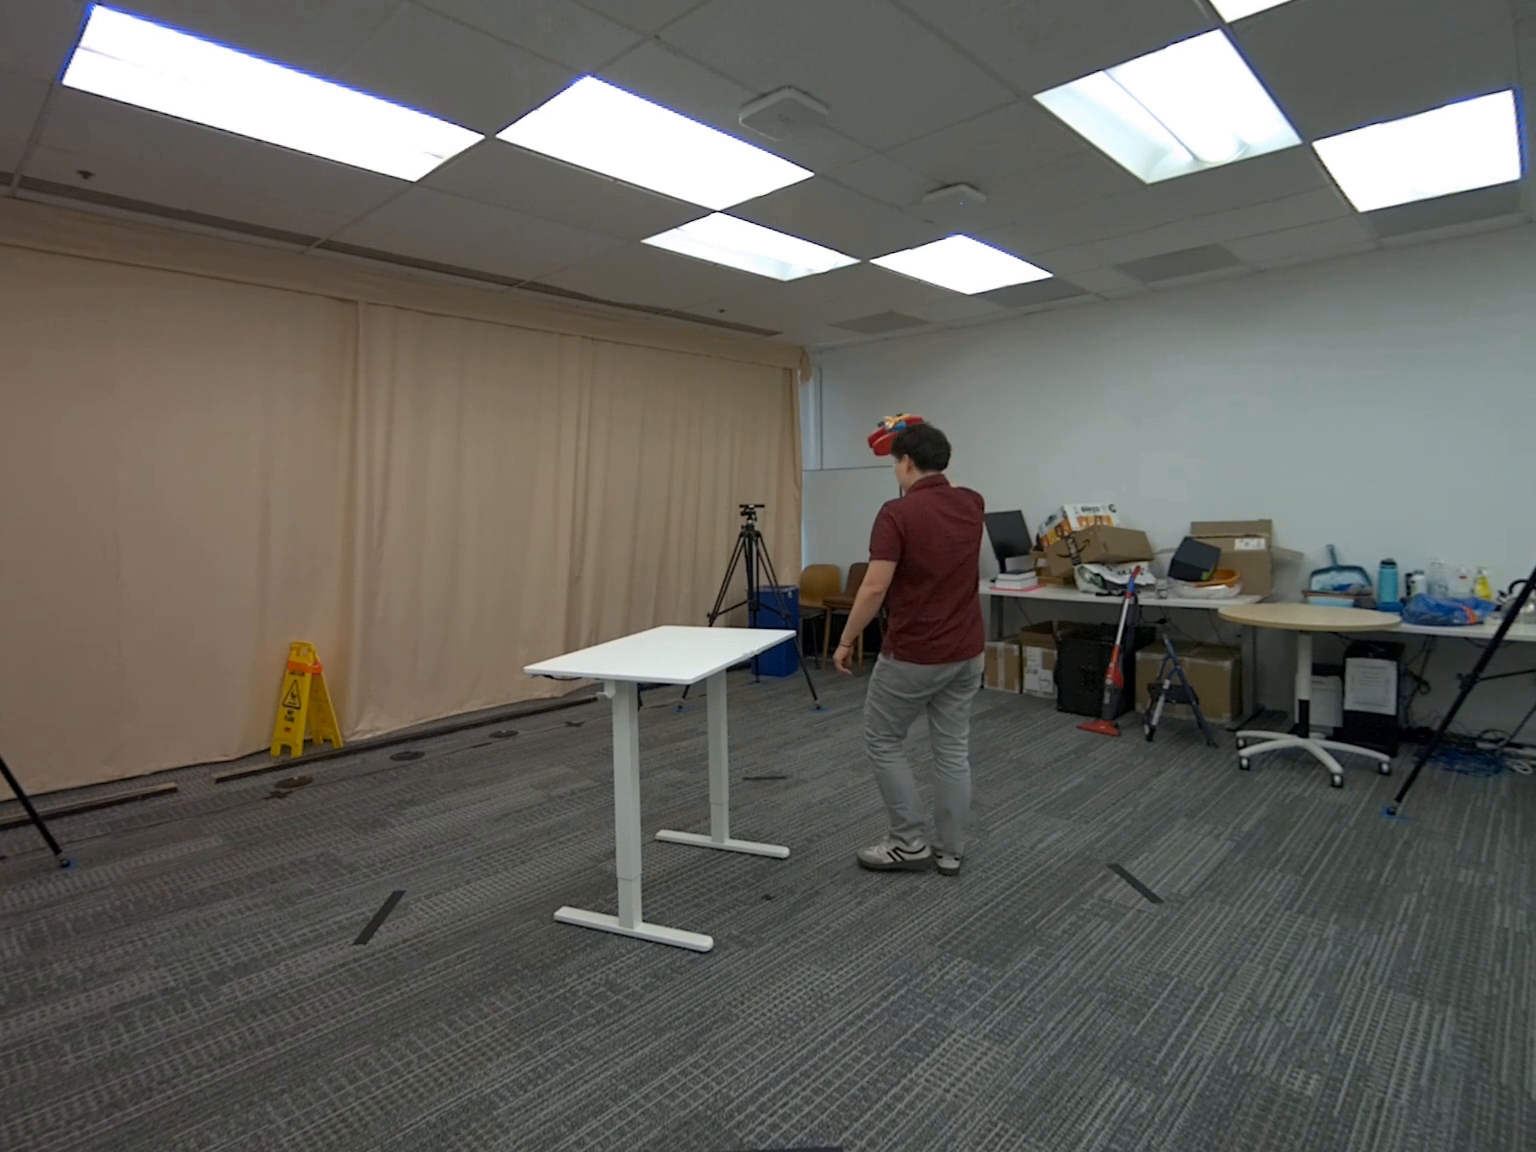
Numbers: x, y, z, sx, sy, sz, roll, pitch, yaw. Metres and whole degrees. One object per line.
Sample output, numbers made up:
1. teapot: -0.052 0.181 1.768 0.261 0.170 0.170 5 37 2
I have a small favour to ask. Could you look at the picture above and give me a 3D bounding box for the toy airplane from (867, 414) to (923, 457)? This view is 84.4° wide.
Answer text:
1. toy airplane: 0.591 -0.587 3.666 0.255 0.252 0.159 39 11 -14
